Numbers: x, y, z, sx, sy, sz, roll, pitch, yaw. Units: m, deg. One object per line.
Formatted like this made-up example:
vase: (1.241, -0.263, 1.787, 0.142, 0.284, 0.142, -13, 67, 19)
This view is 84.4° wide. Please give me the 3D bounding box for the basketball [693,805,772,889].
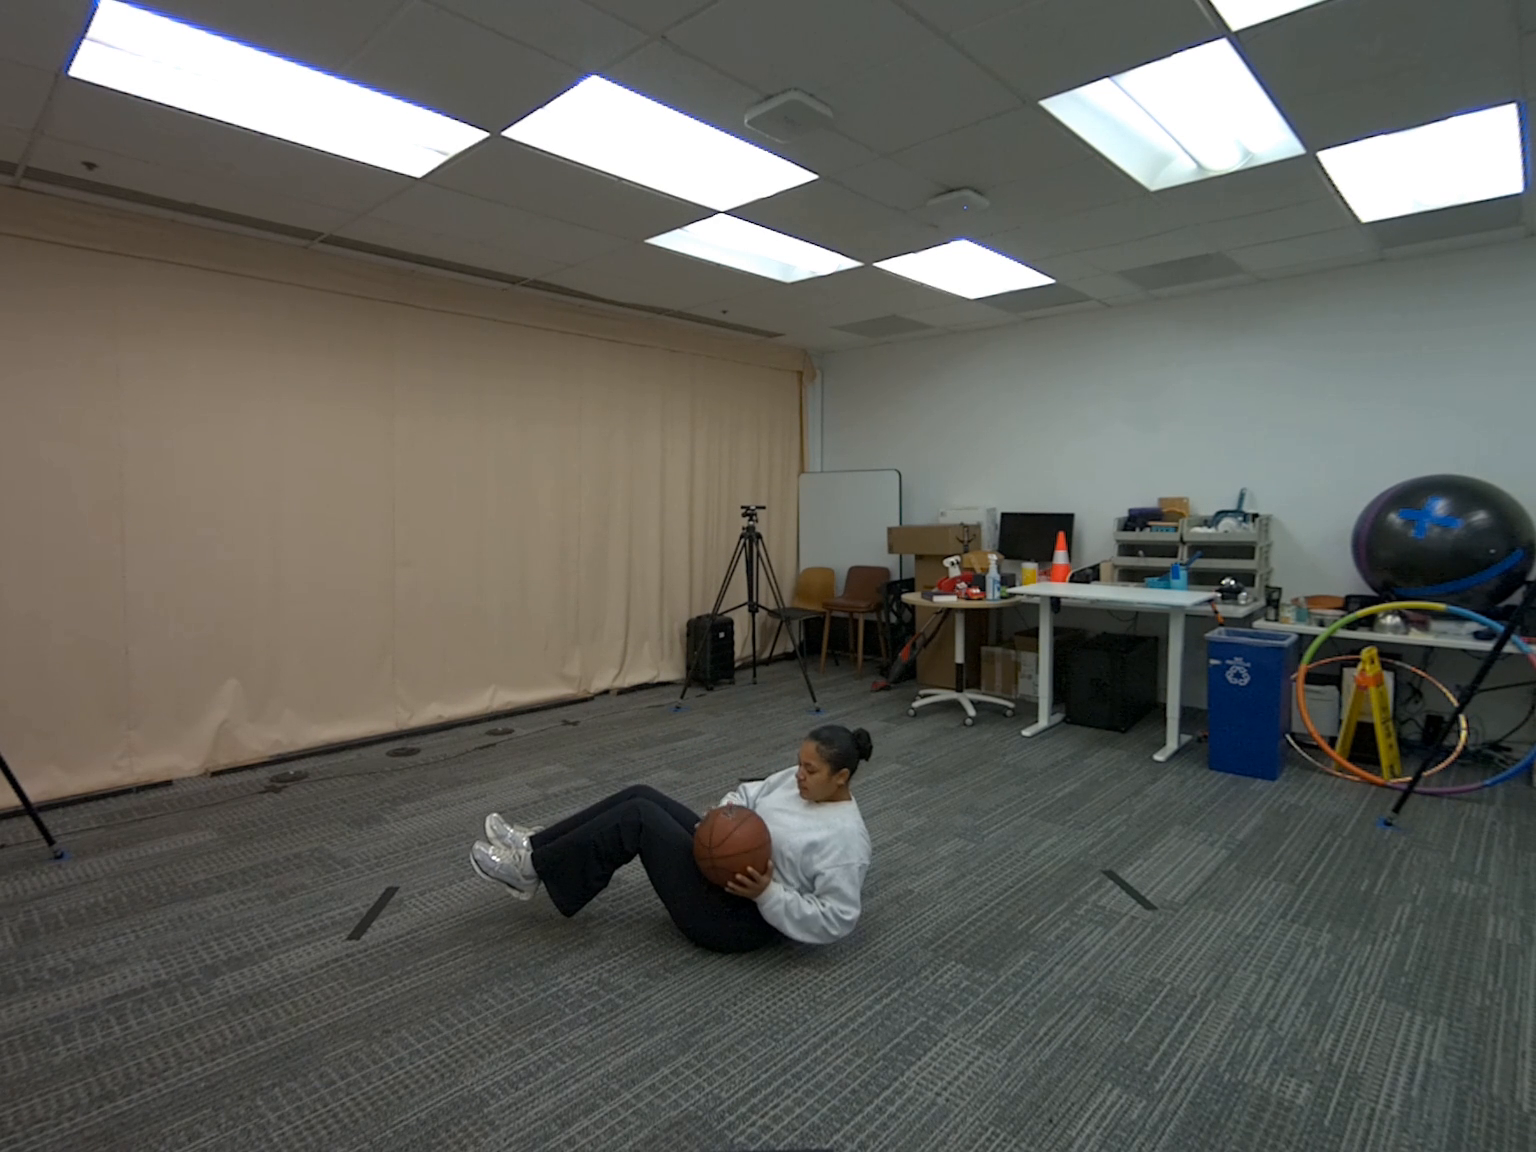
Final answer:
basketball: (-0.097, 0.813, 2.542, 0.236, 0.235, 0.237, 0, 4, -2)
